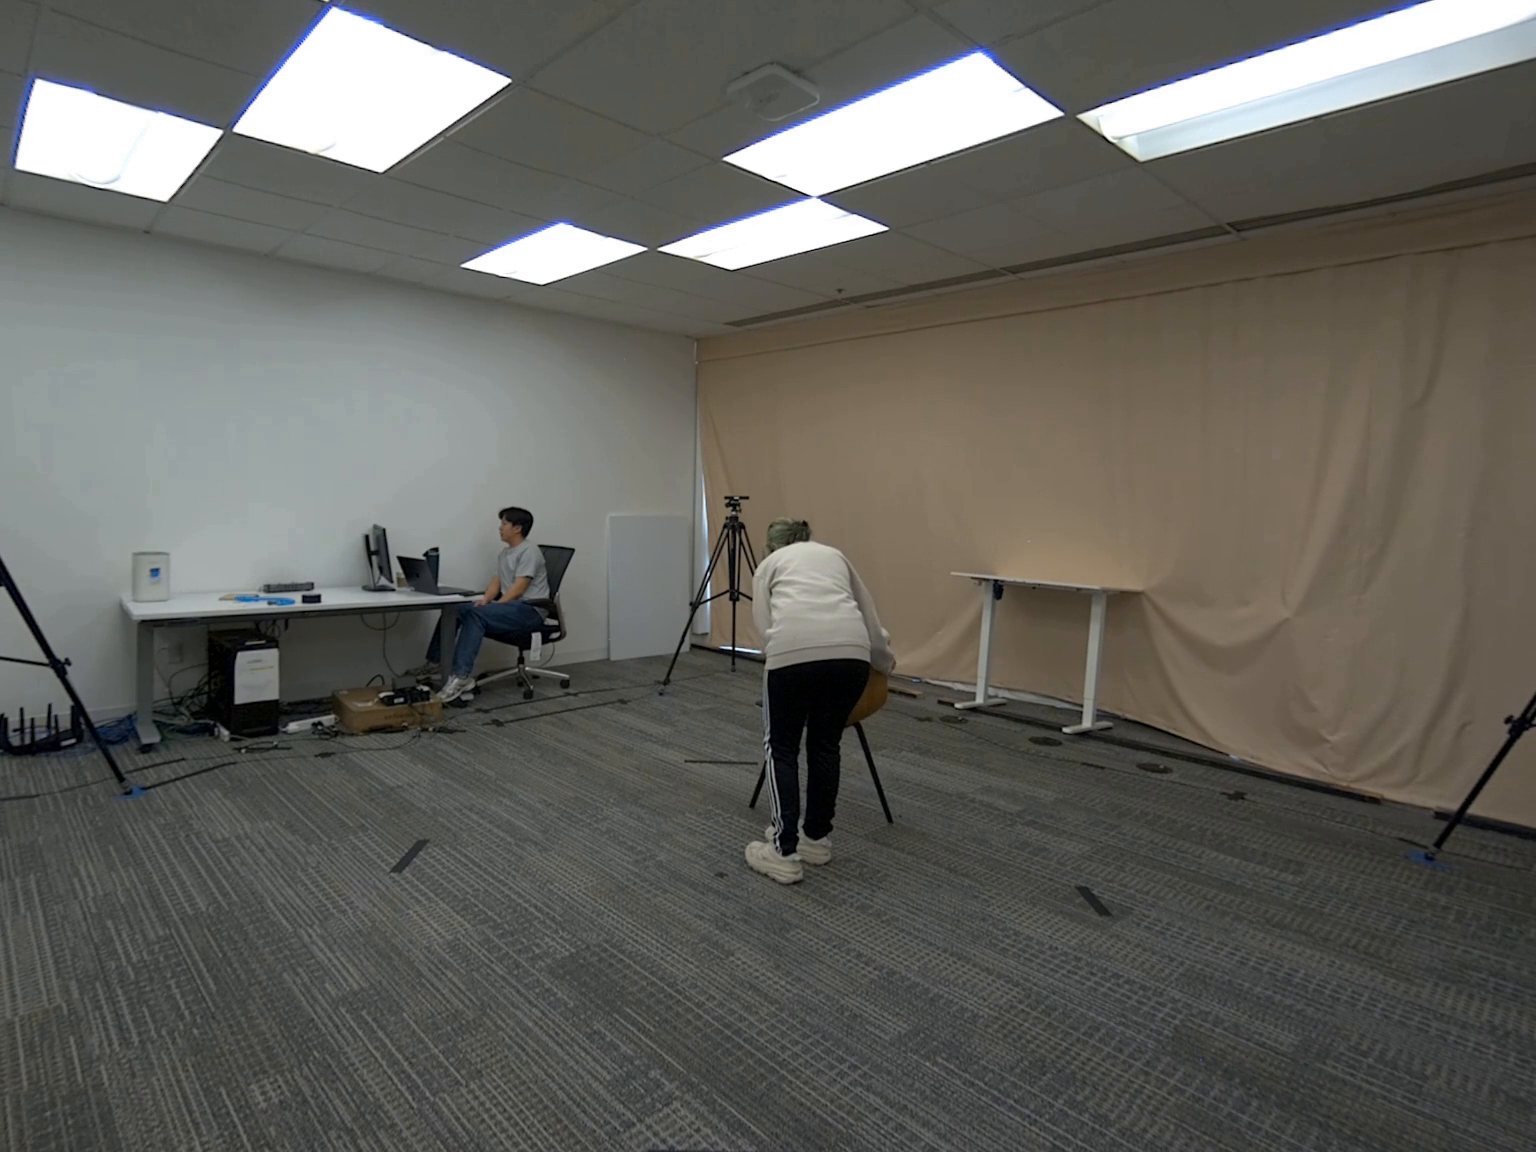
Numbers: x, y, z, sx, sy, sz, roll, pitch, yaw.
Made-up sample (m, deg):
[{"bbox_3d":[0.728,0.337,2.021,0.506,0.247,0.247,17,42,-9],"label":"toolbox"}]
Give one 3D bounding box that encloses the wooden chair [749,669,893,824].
[{"bbox_3d":[0.224,0.631,3.707,0.468,0.874,0.536,0,6,-32],"label":"wooden chair"}]
